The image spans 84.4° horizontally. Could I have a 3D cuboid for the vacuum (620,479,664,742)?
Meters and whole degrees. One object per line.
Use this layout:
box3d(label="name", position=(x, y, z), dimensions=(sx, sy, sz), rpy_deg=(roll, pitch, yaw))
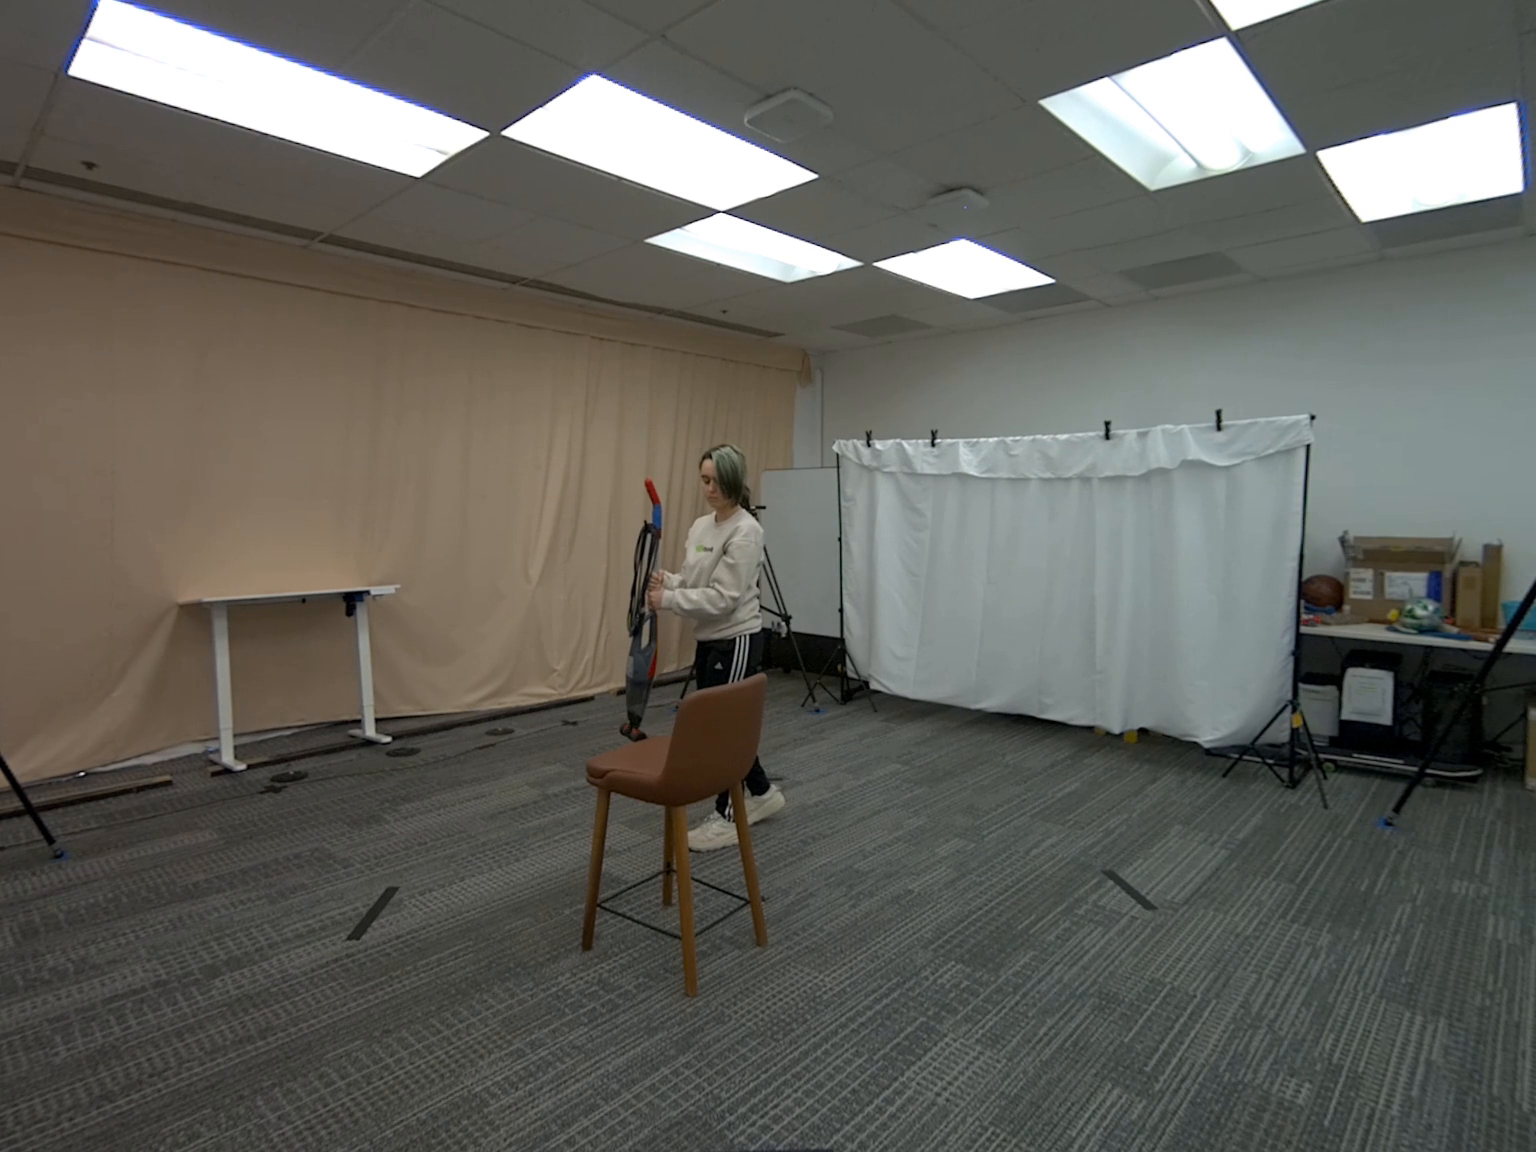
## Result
box3d(label="vacuum", position=(-0.496, 0.145, 3.316), dimensions=(0.140, 1.044, 0.261), rpy_deg=(-5, 10, -36))
